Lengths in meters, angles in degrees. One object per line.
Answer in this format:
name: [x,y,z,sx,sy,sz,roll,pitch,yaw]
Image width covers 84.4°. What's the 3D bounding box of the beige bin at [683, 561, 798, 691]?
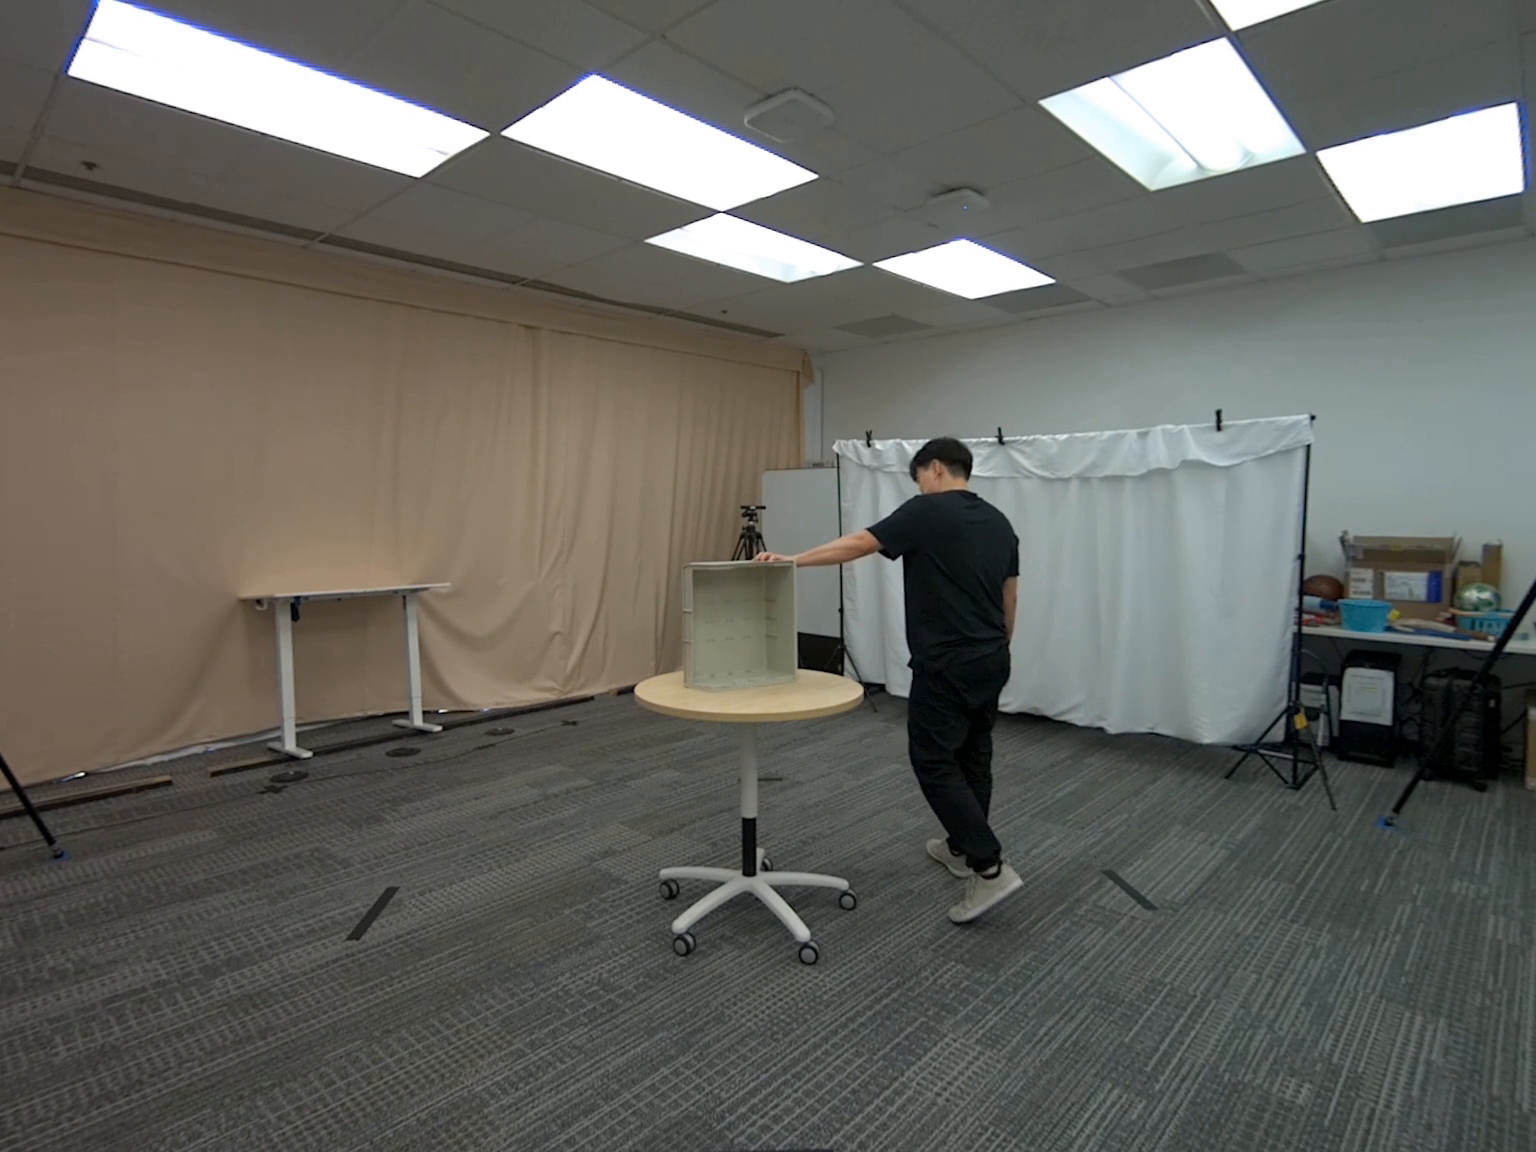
beige bin: [-0.096,0.168,2.881,0.366,0.422,0.195,-3,2,-35]
